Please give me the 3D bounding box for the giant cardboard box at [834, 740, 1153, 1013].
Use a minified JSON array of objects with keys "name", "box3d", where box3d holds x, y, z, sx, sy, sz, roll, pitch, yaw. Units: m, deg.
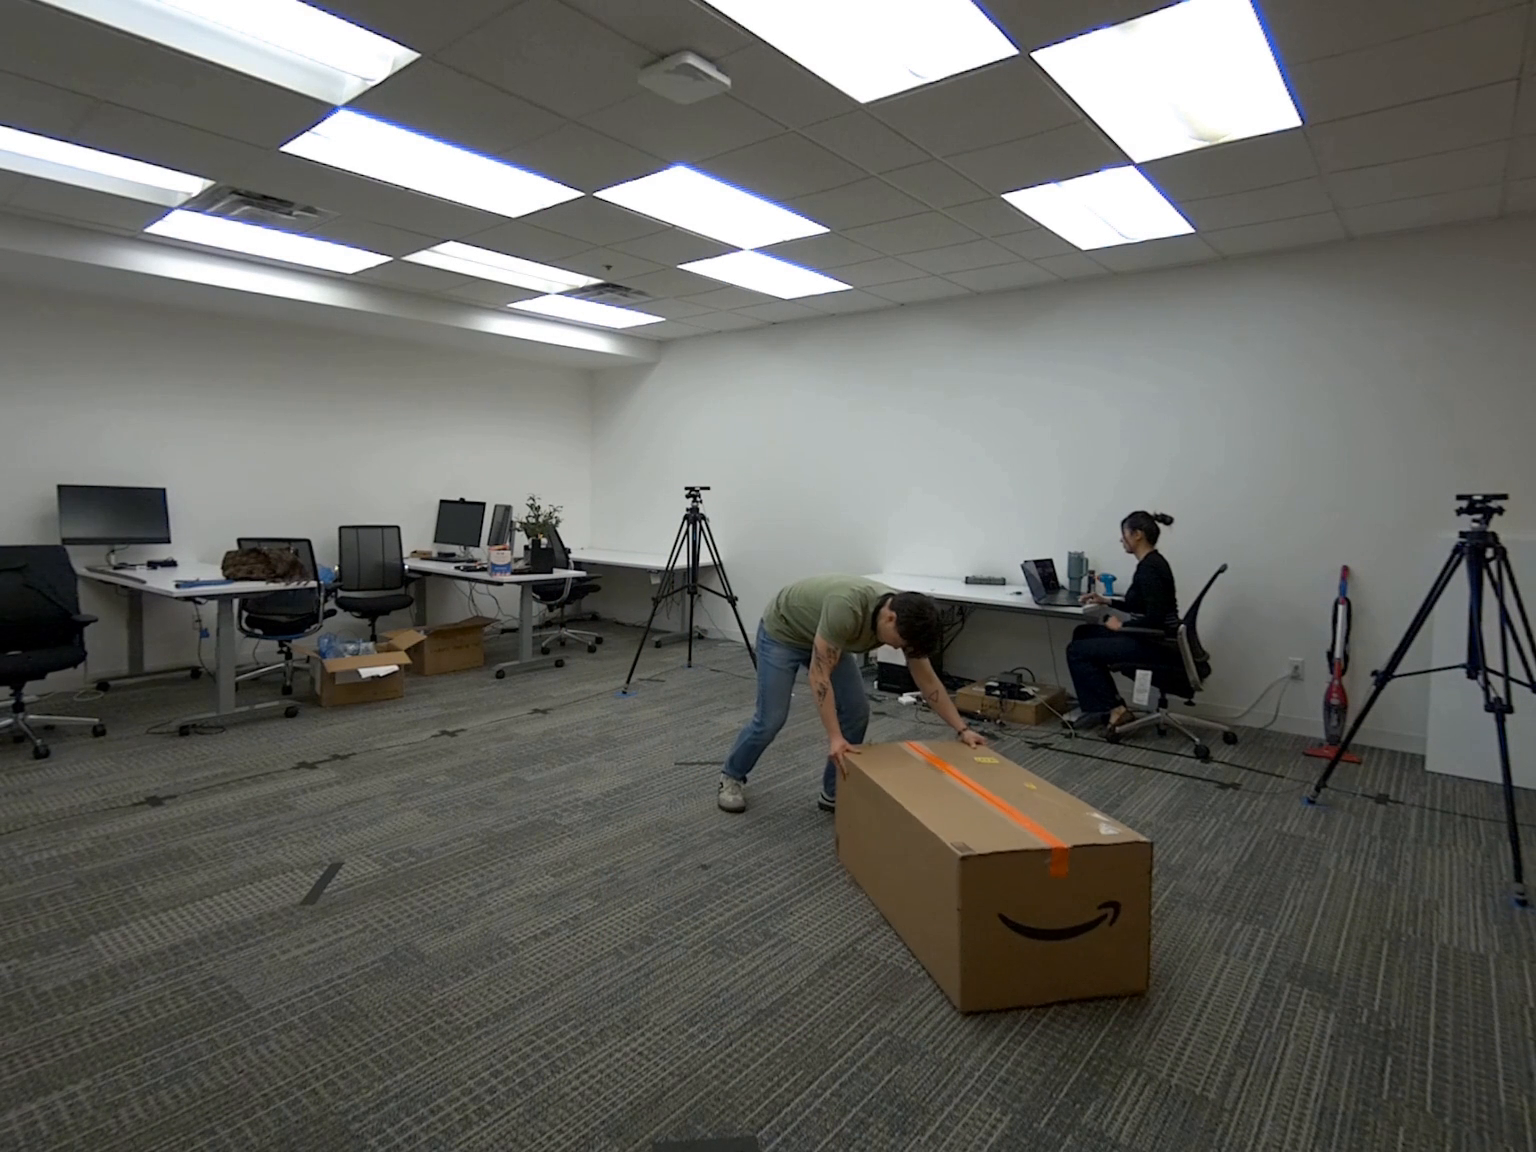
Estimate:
[{"name":"giant cardboard box","box3d":[0.654,0.887,2.795,0.570,0.425,1.043,0,4,-14]}]
